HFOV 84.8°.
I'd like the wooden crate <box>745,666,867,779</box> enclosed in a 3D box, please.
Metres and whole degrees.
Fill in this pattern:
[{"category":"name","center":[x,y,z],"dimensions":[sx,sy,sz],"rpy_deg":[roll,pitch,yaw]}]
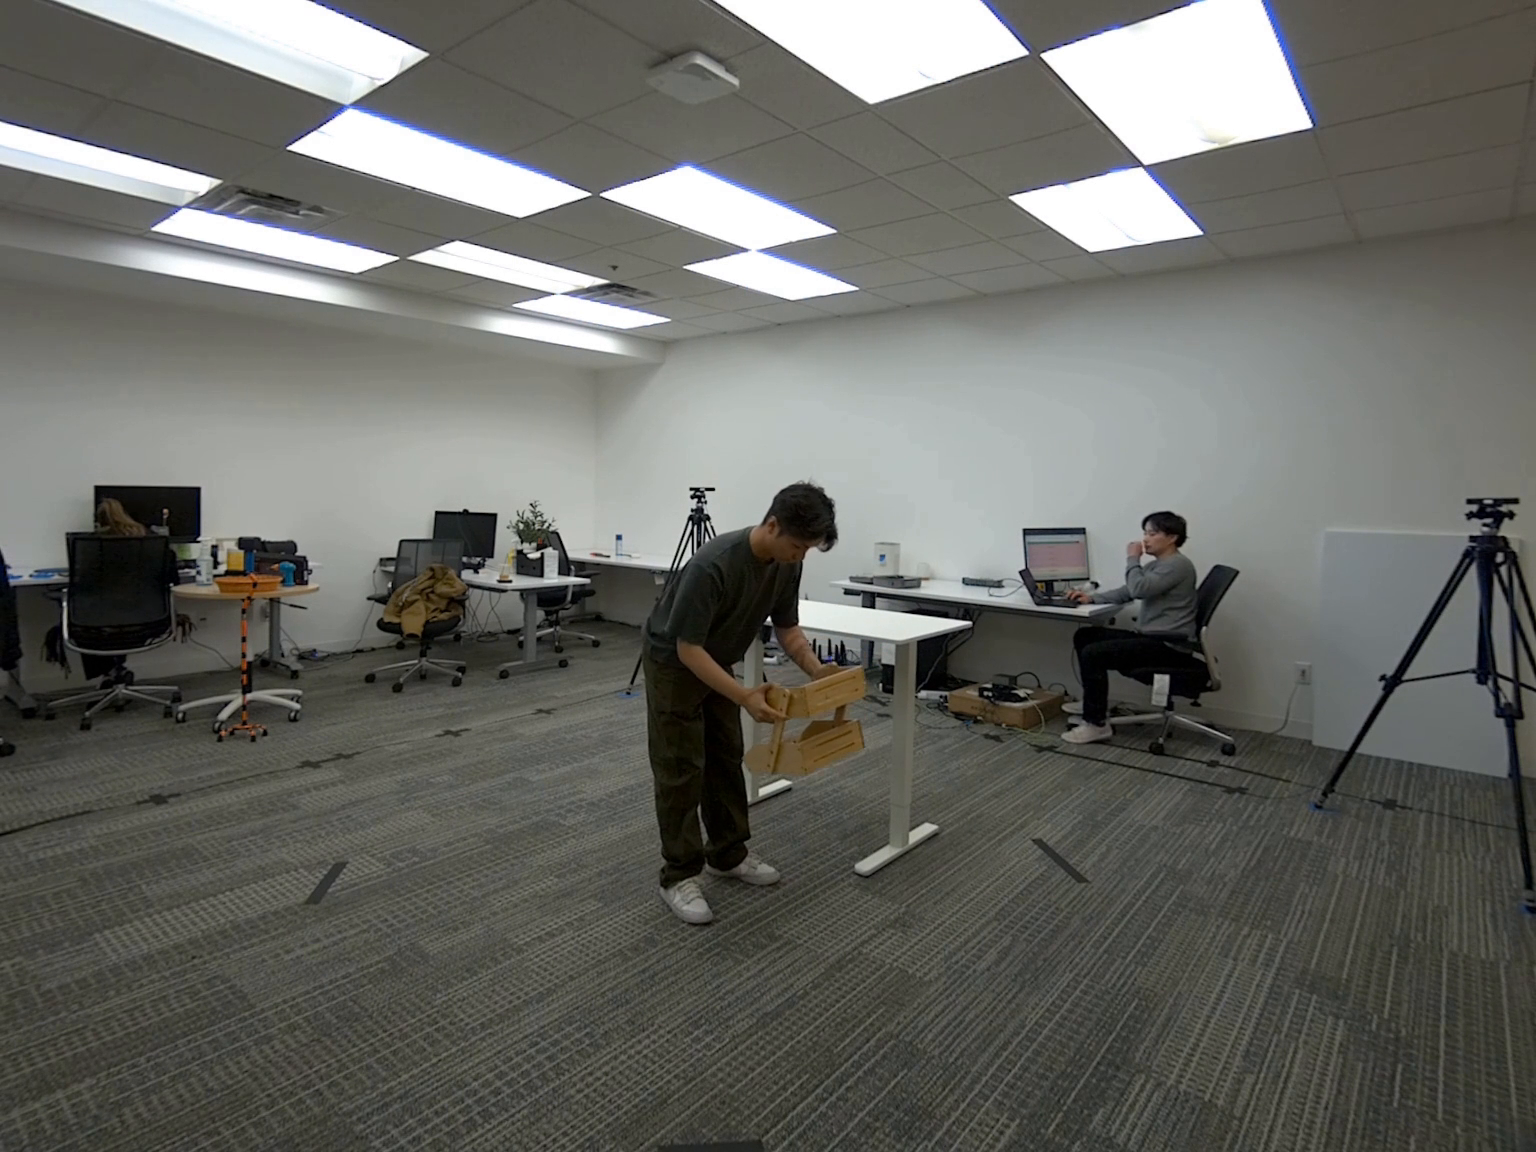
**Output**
[{"category":"wooden crate","center":[0.101,0.434,2.658],"dimensions":[0.310,0.274,0.316],"rpy_deg":[-10,-1,44]}]
